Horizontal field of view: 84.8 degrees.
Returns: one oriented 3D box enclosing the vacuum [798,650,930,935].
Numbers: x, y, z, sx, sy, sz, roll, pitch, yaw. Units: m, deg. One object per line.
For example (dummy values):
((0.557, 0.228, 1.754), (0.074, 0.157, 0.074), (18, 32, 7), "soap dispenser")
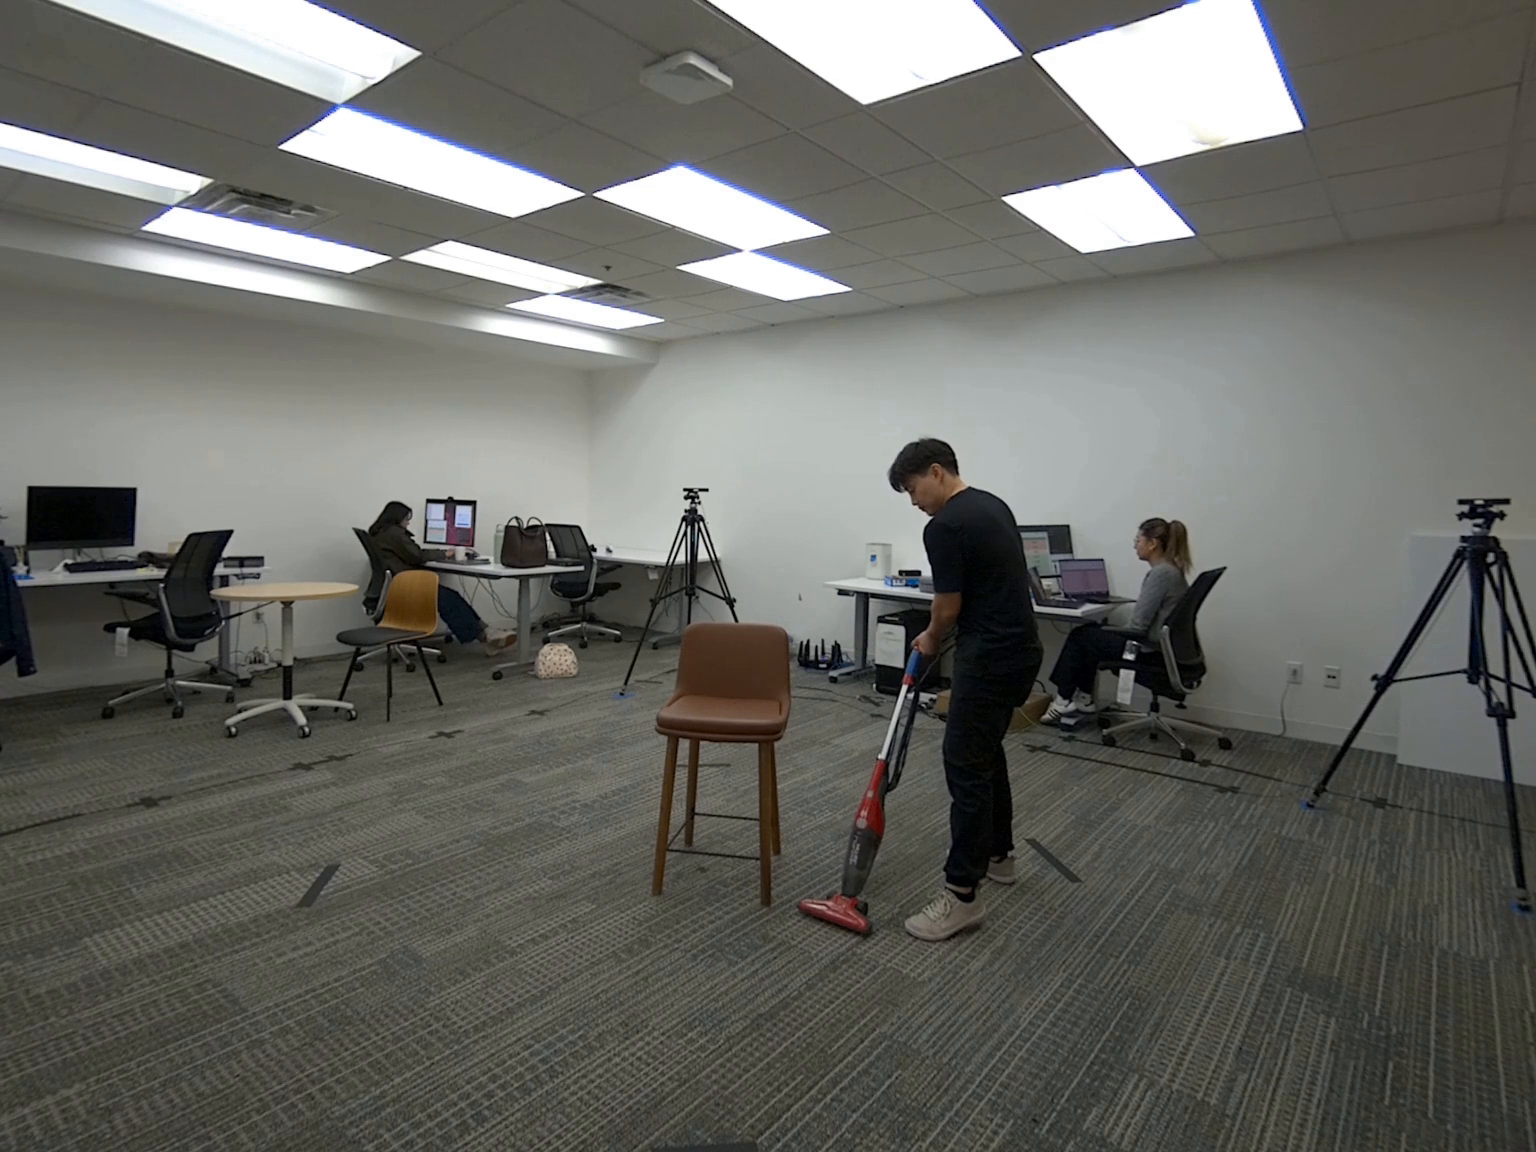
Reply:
((0.410, 0.680, 2.991), (0.261, 1.059, 0.138), (6, -34, 32), "vacuum")
